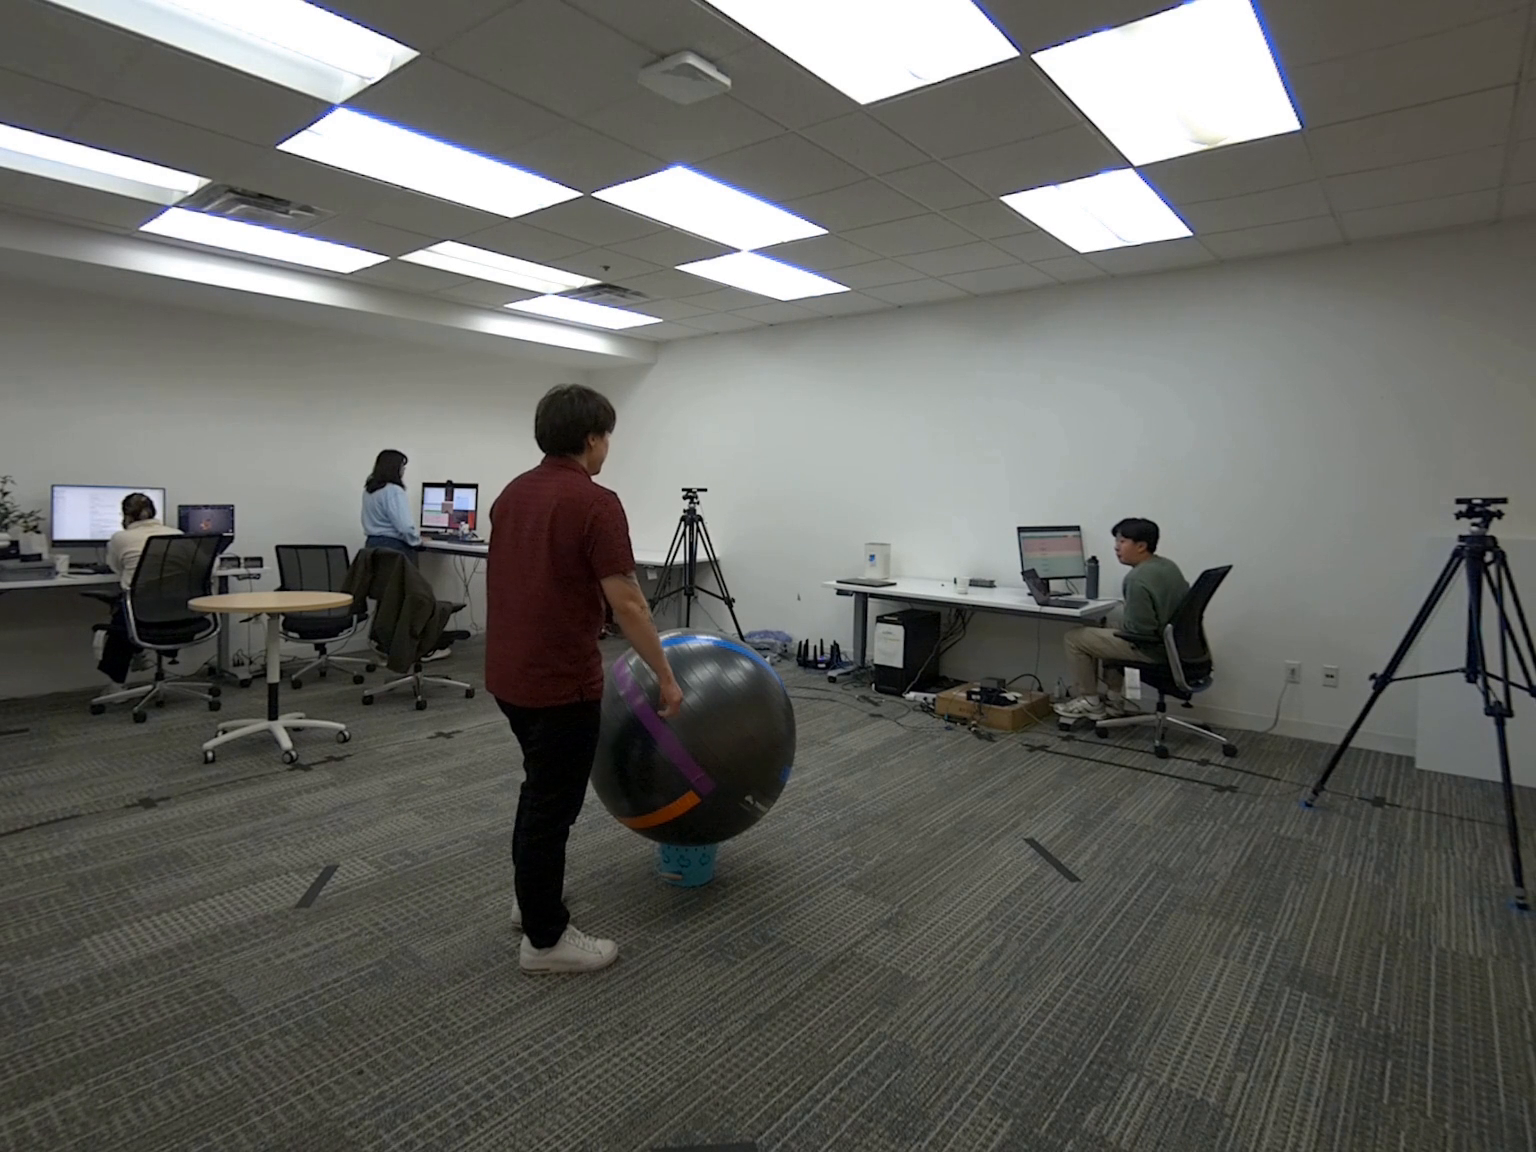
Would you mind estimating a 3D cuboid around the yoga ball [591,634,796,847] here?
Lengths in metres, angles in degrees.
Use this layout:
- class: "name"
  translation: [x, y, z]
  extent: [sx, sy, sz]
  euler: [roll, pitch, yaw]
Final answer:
- class: "yoga ball"
  translation: [-0.278, 0.566, 3.038]
  extent: [0.757, 0.756, 0.761]
  euler: [1, 4, -2]
